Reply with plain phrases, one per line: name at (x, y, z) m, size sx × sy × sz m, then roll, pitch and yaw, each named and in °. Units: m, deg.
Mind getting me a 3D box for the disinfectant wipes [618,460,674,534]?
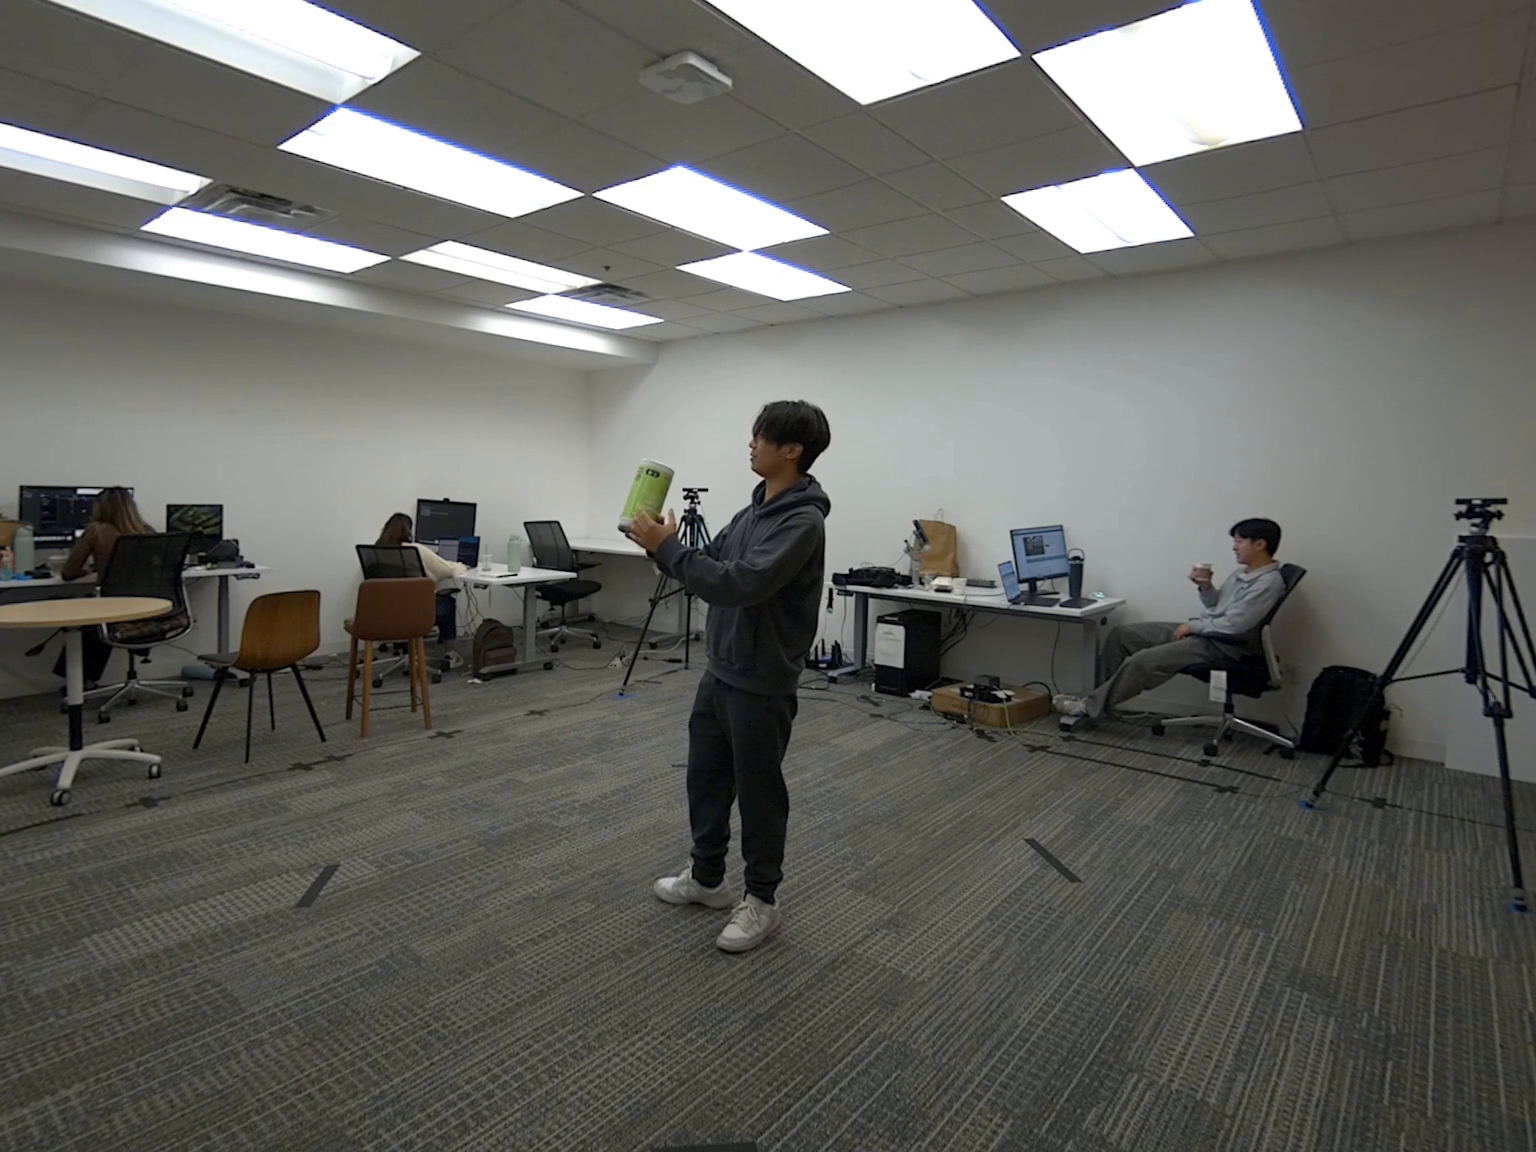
disinfectant wipes at (-0.377, -0.239, 2.569) m, size 0.118 × 0.219 × 0.117 m, roll 17°, pitch -9°, yaw 1°
